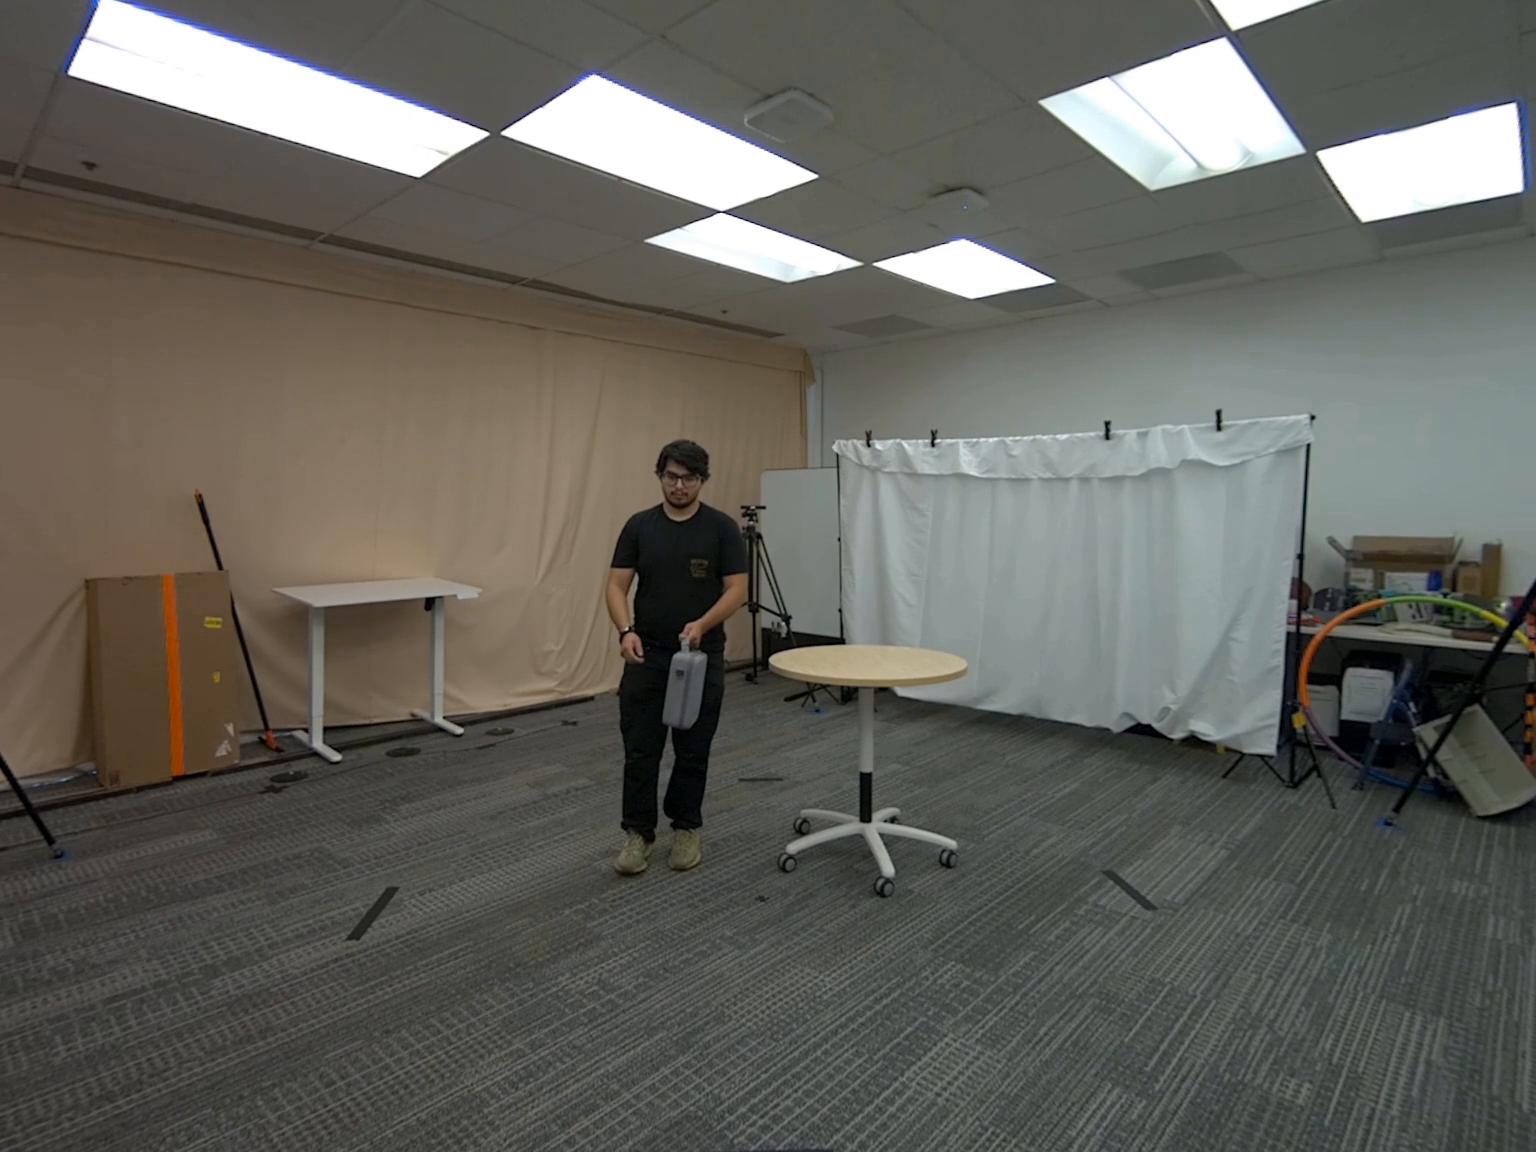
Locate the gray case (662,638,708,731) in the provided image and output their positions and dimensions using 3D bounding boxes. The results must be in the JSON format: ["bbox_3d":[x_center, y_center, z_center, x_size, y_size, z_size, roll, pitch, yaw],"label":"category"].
[{"bbox_3d":[-0.290,0.388,2.953,0.105,0.261,0.255,5,-2,4],"label":"gray case"}]
